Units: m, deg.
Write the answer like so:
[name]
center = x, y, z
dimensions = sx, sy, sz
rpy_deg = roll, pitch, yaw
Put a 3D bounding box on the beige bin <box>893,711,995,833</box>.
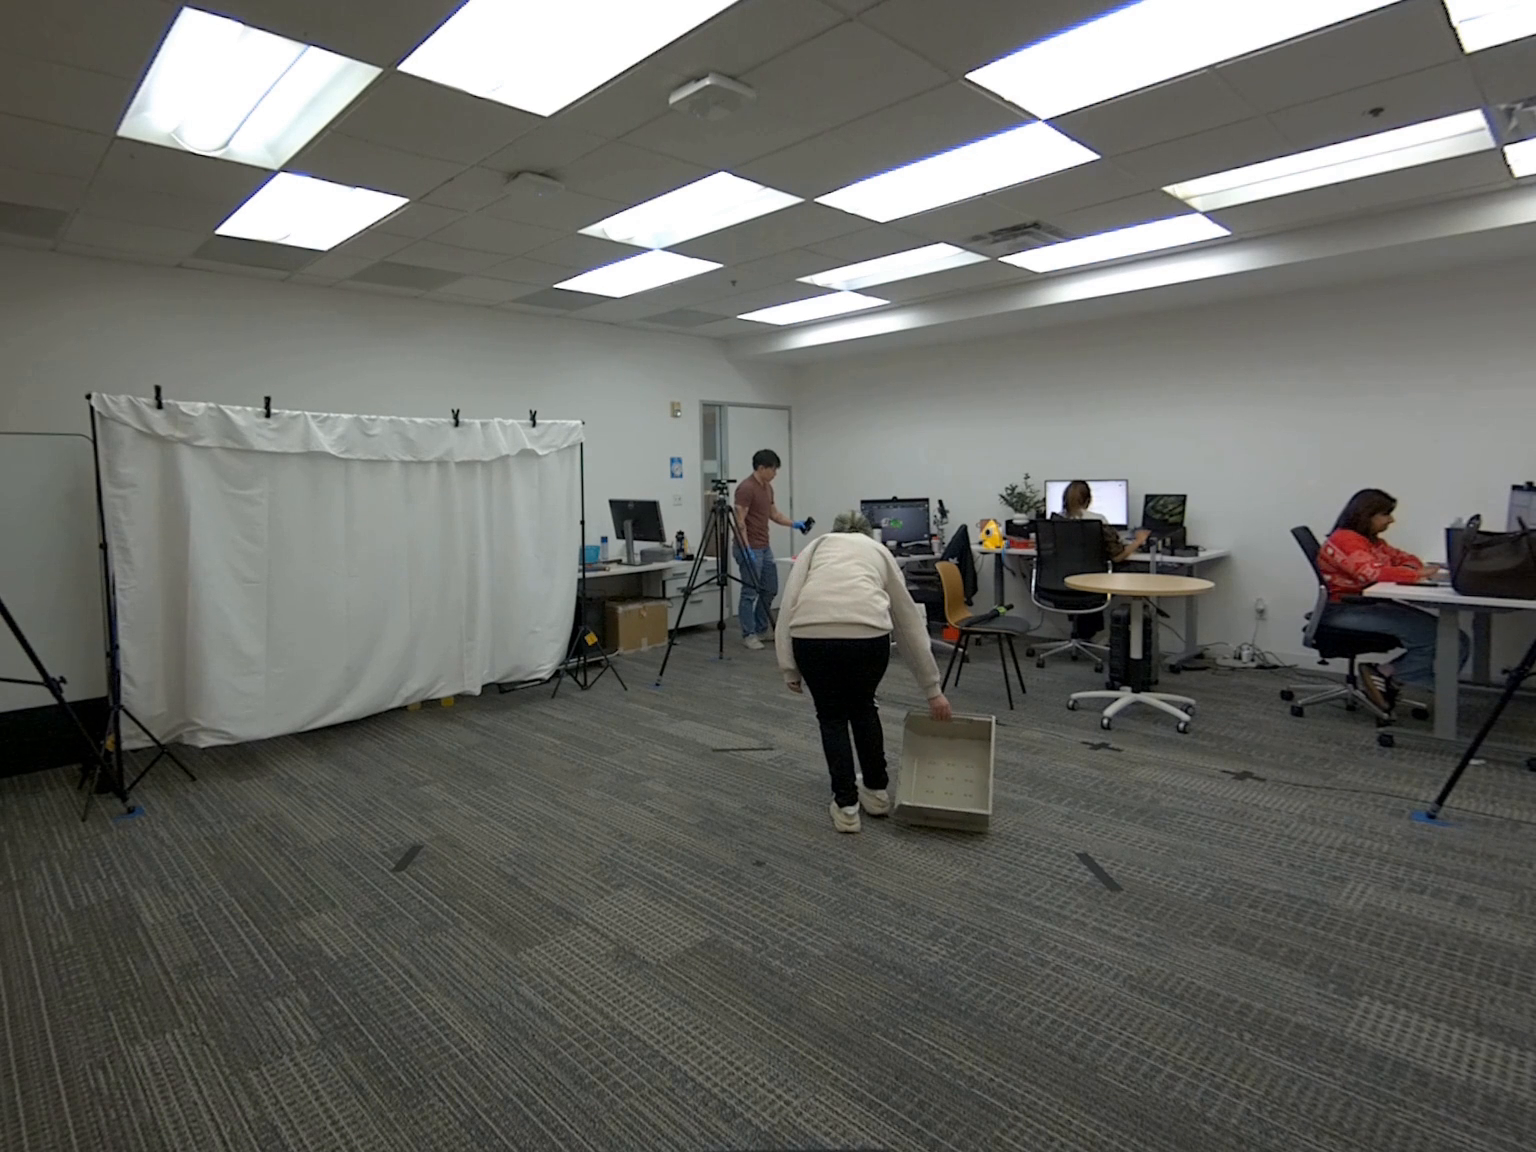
[beige bin]
center = 0.714, 0.784, 3.463
dimensions = 0.384, 0.182, 0.429
rpy_deg = 1, 48, 18
